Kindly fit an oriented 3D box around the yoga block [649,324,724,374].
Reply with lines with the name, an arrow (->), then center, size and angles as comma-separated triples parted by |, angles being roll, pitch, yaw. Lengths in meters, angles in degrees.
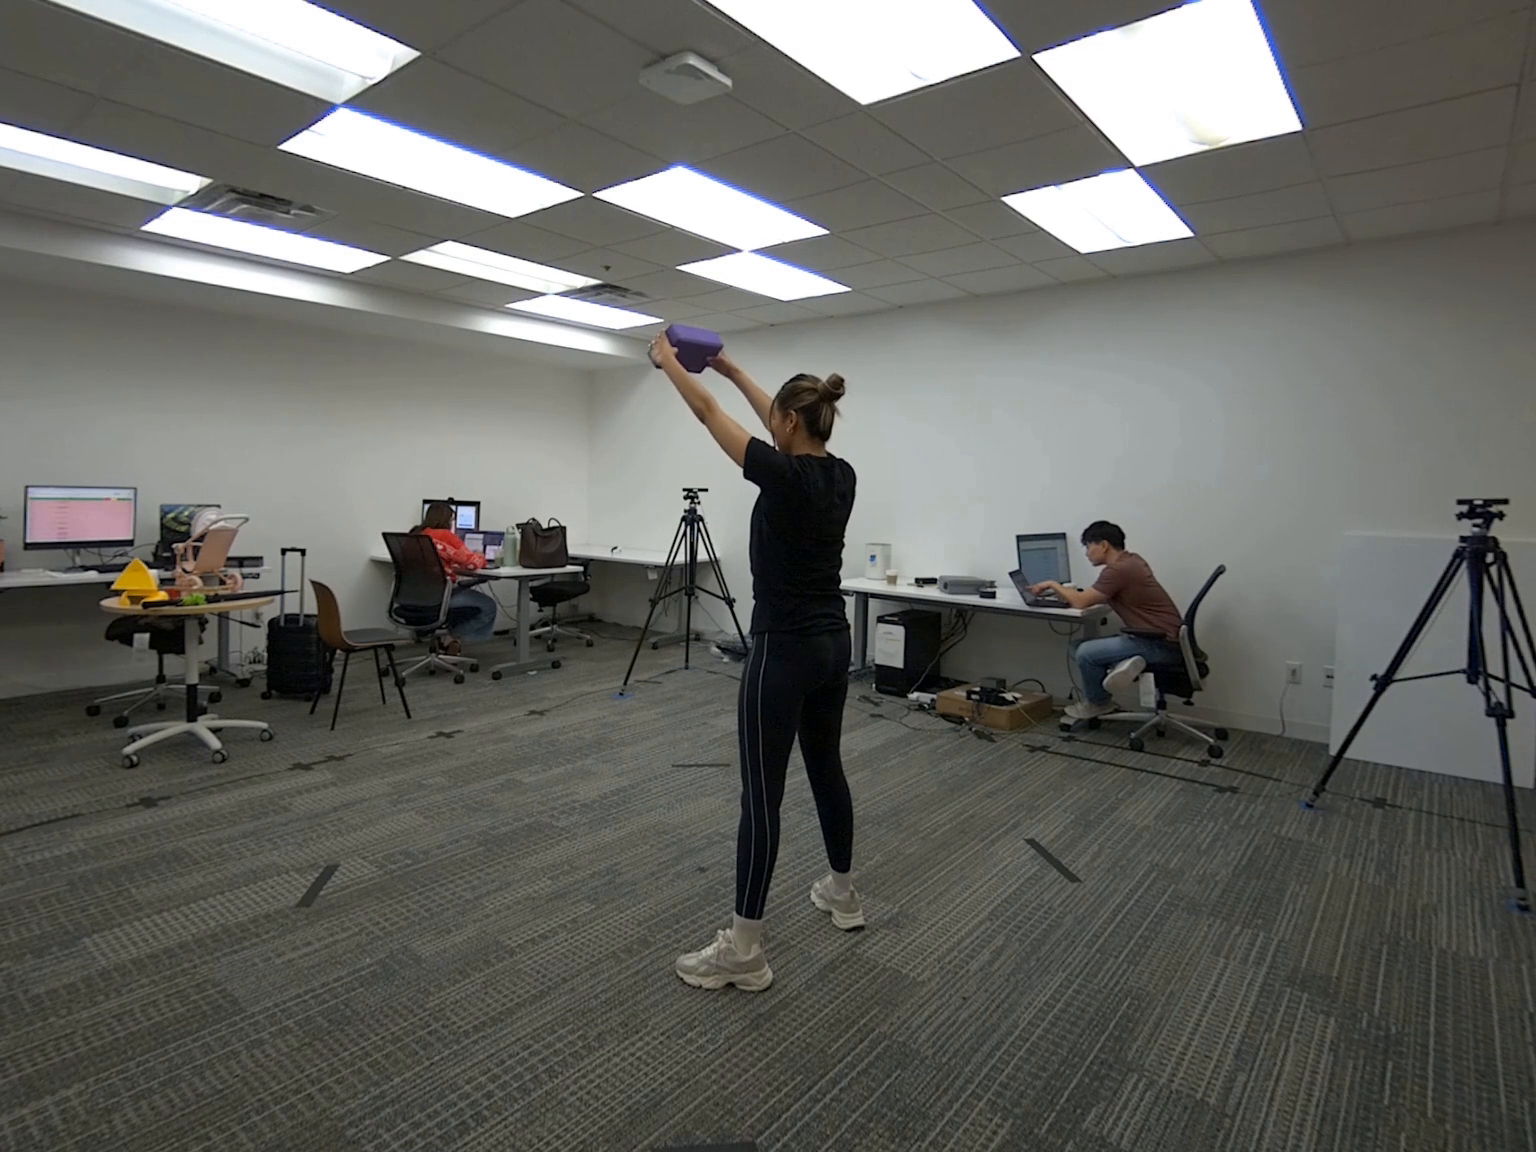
yoga block -> -0.288, -0.760, 2.847 | 0.149, 0.078, 0.223 | -41, -19, 34
